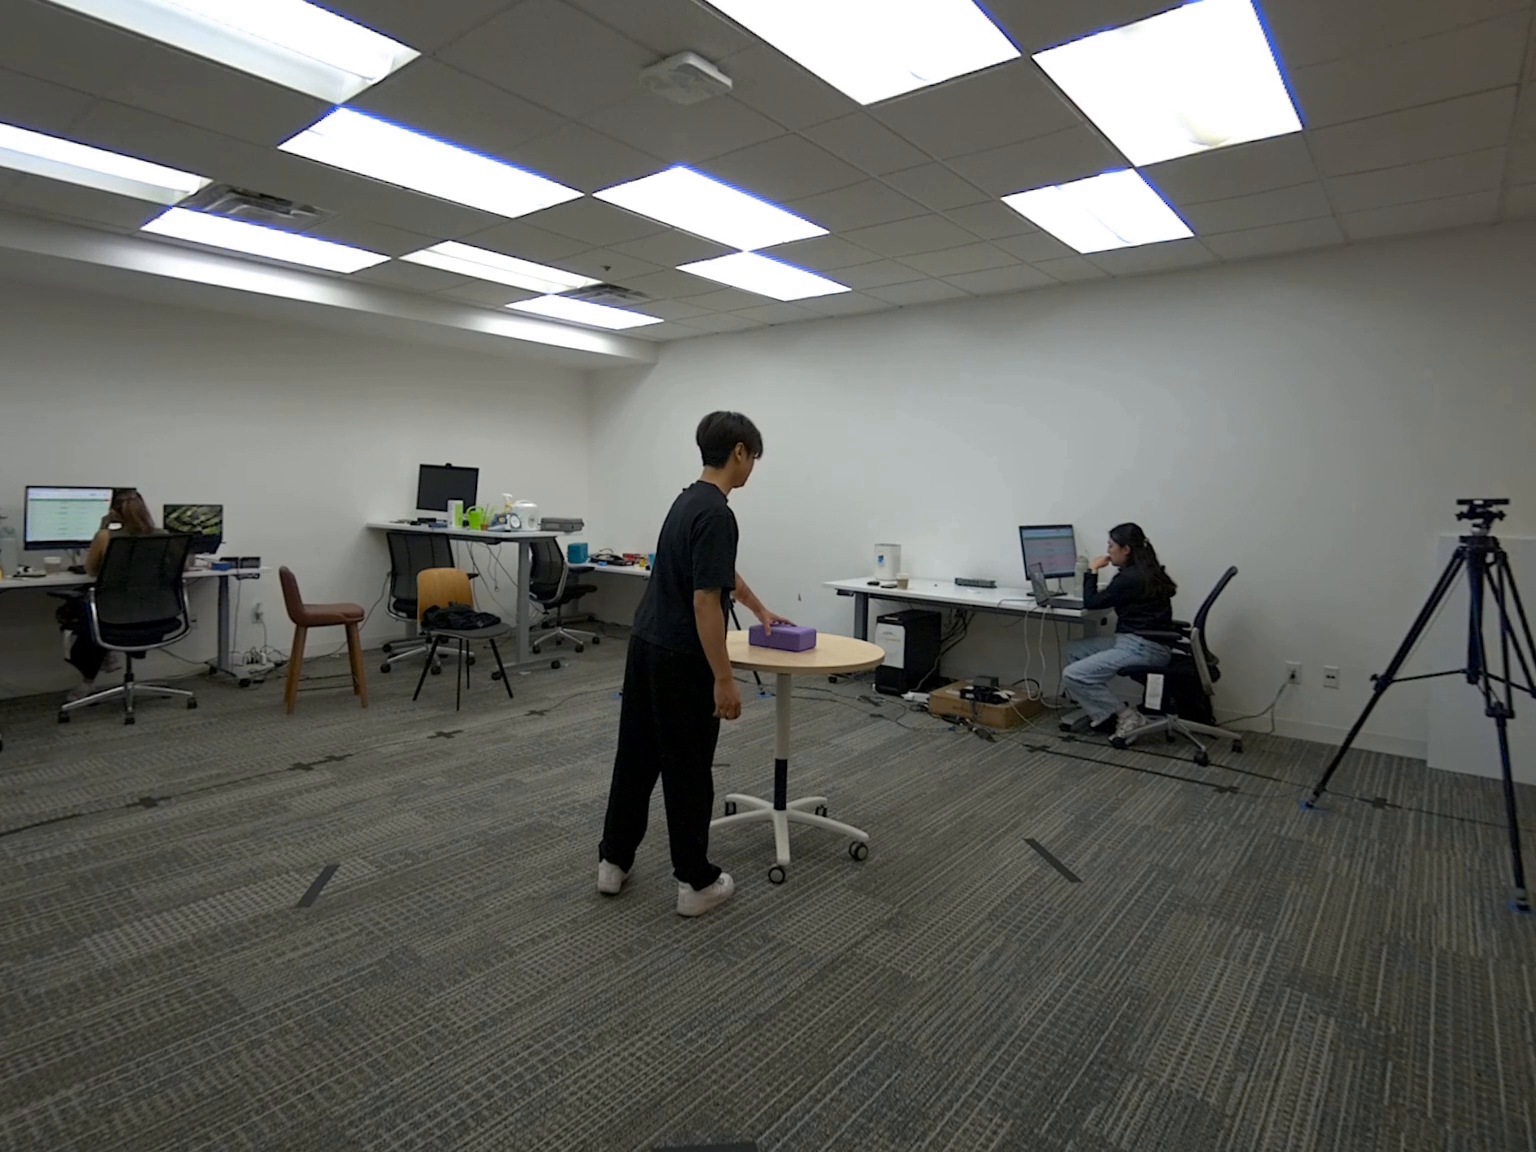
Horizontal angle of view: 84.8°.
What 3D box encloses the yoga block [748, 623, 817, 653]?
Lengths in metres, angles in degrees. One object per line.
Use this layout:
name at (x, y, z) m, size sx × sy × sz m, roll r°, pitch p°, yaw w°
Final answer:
yoga block at (0.045, 0.234, 3.311) m, size 0.236 × 0.076 × 0.145 m, roll 4°, pitch 5°, yaw 33°
